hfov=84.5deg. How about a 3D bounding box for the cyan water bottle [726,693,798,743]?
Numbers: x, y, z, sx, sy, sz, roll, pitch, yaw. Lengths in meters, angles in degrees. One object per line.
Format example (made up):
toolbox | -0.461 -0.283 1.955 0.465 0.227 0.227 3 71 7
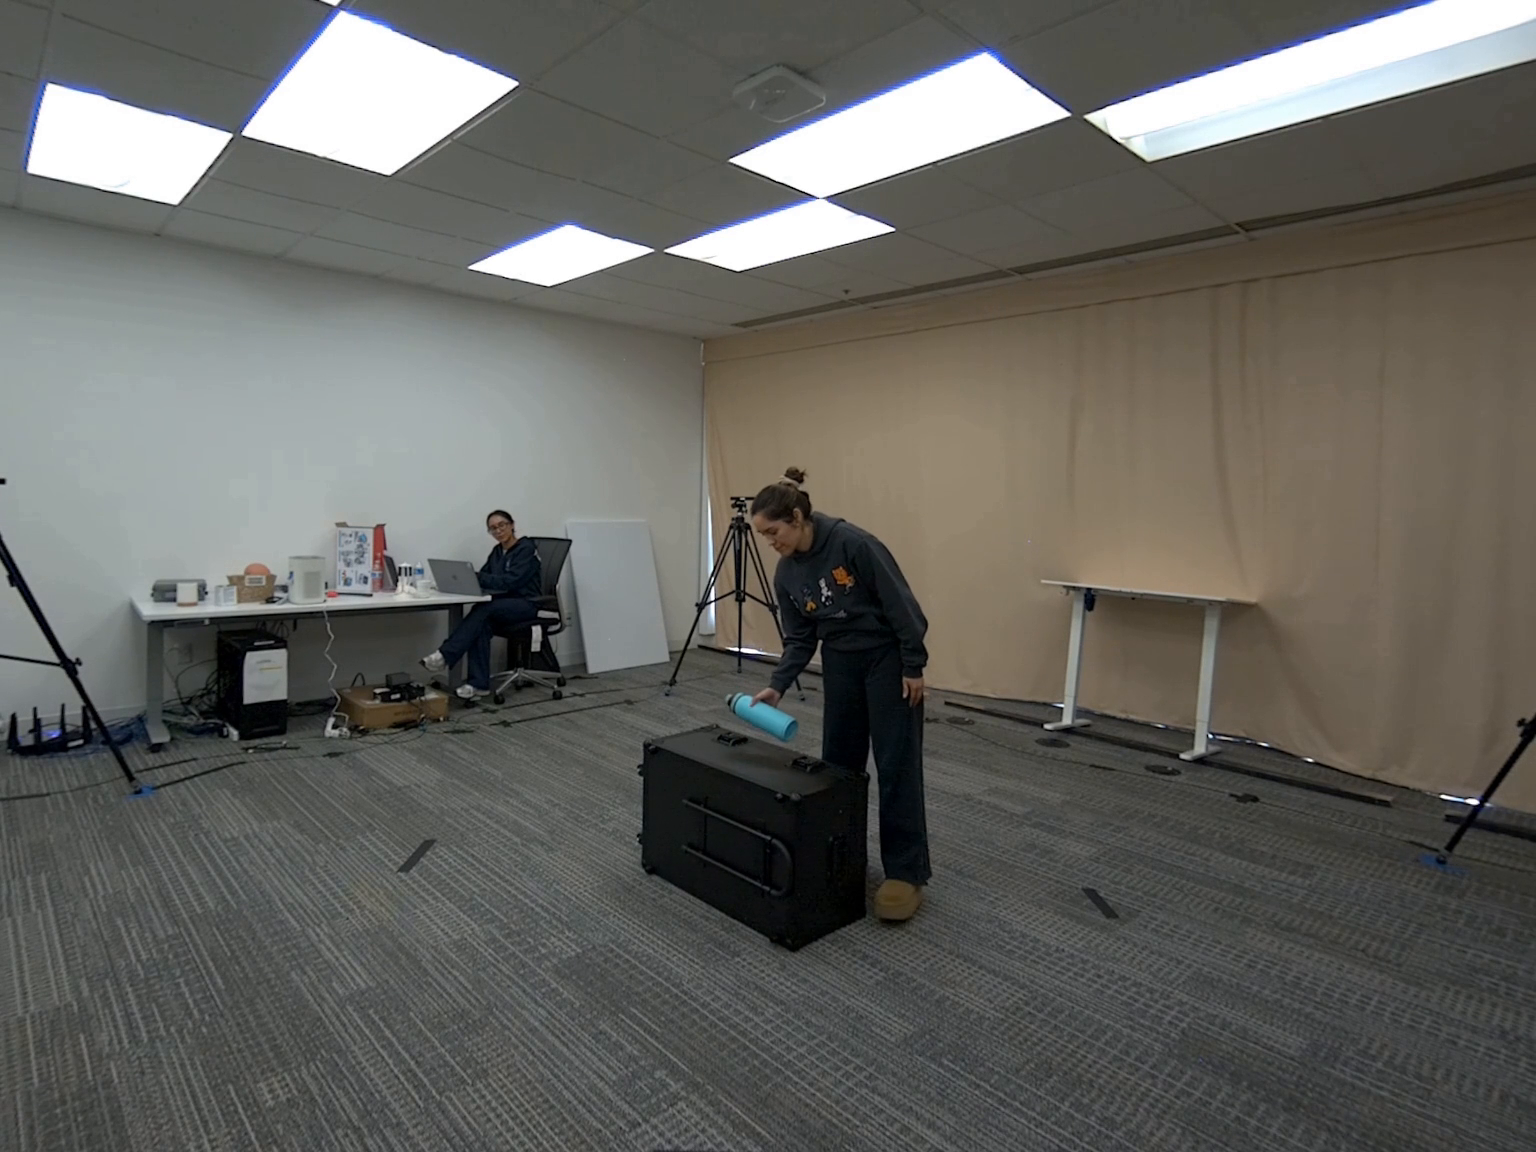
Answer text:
cyan water bottle | -0.036 0.497 3.022 0.291 0.091 0.090 22 16 35
